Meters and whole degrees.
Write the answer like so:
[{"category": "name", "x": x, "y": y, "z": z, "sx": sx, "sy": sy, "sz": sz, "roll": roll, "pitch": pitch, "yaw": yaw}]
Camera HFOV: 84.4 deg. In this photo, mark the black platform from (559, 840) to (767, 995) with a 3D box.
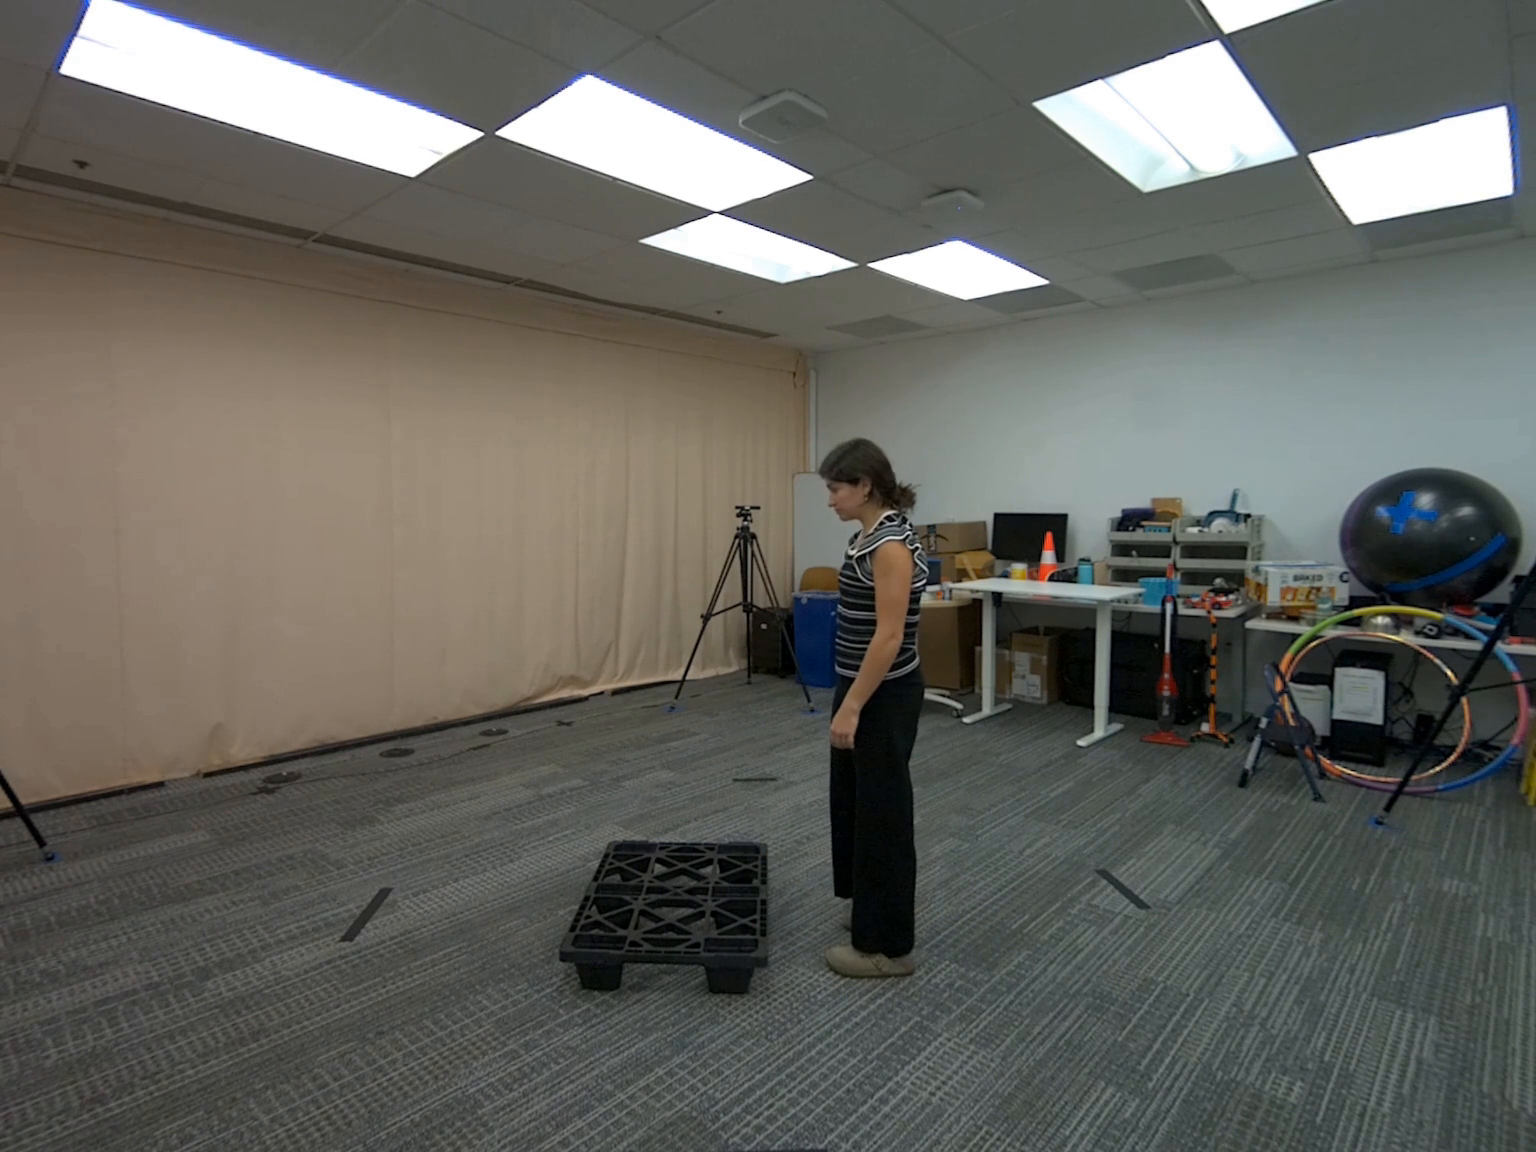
[{"category": "black platform", "x": -0.296, "y": 1.097, "z": 2.775, "sx": 0.607, "sy": 0.143, "sz": 0.805, "roll": 0, "pitch": 5, "yaw": 2}]
